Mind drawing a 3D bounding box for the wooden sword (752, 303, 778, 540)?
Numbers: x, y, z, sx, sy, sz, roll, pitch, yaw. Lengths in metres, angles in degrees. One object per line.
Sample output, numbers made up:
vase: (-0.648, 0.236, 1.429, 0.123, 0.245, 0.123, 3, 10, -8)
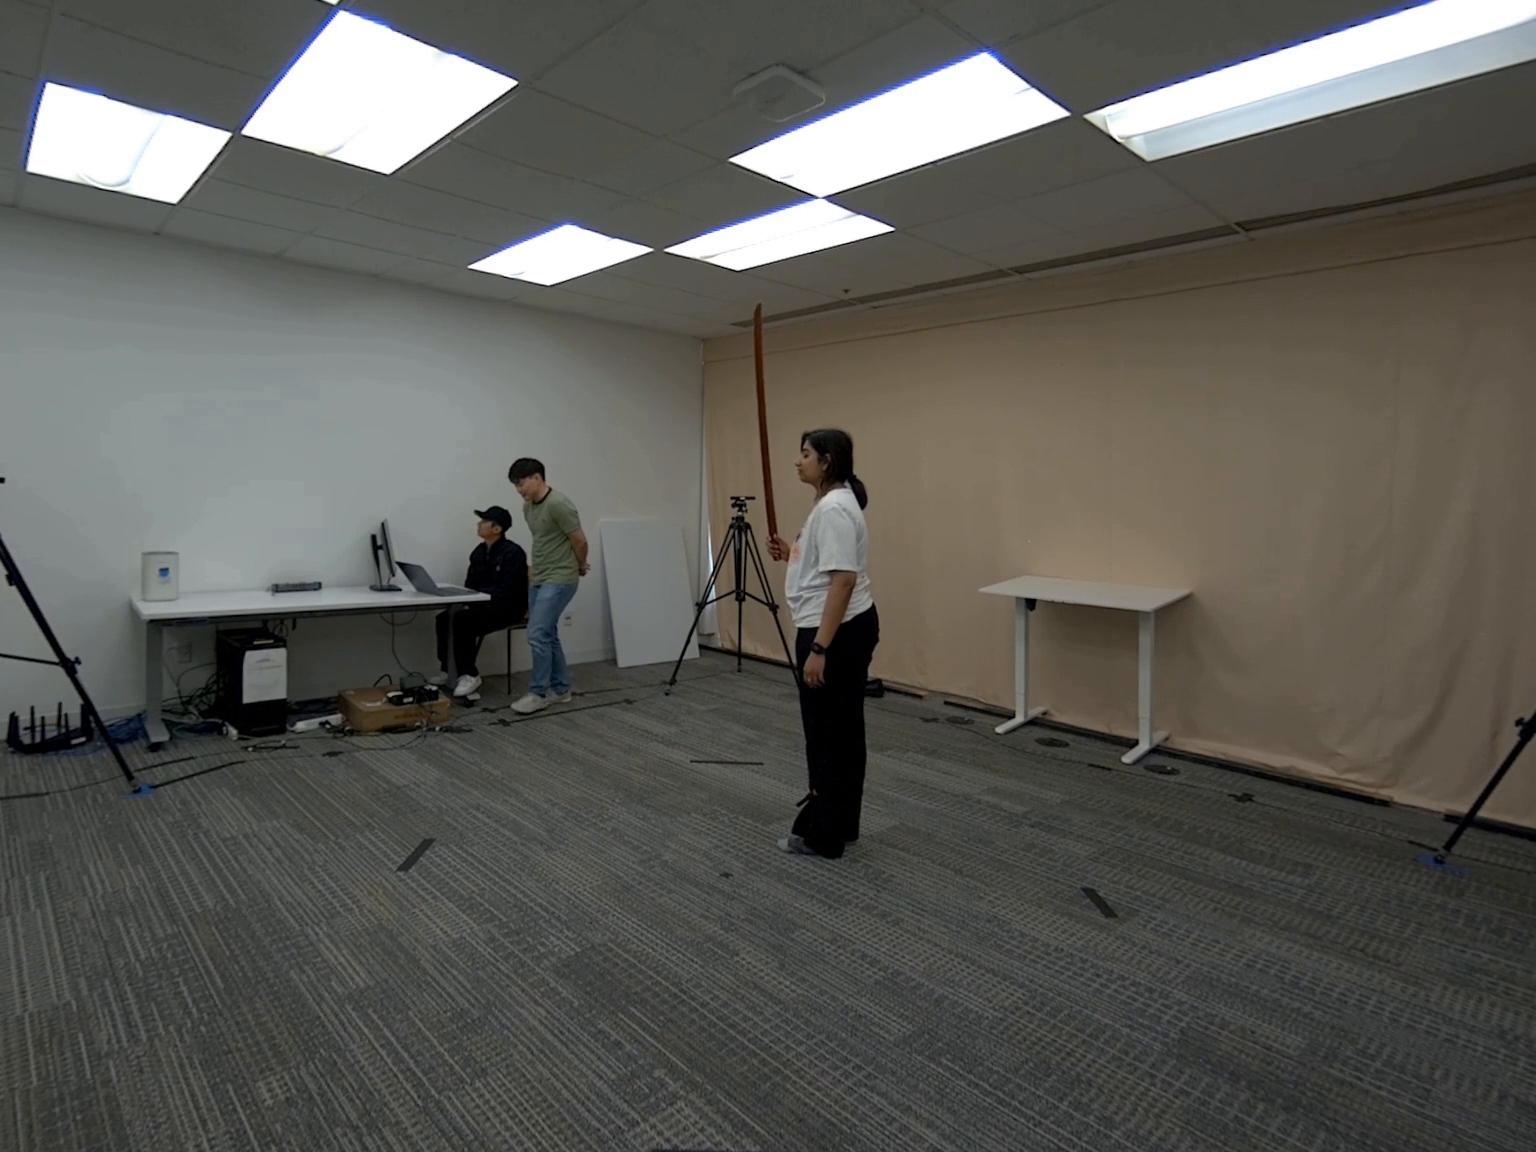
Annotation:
wooden sword: (-0.018, -0.548, 3.308, 0.051, 1.010, 0.024, -7, 19, -11)
